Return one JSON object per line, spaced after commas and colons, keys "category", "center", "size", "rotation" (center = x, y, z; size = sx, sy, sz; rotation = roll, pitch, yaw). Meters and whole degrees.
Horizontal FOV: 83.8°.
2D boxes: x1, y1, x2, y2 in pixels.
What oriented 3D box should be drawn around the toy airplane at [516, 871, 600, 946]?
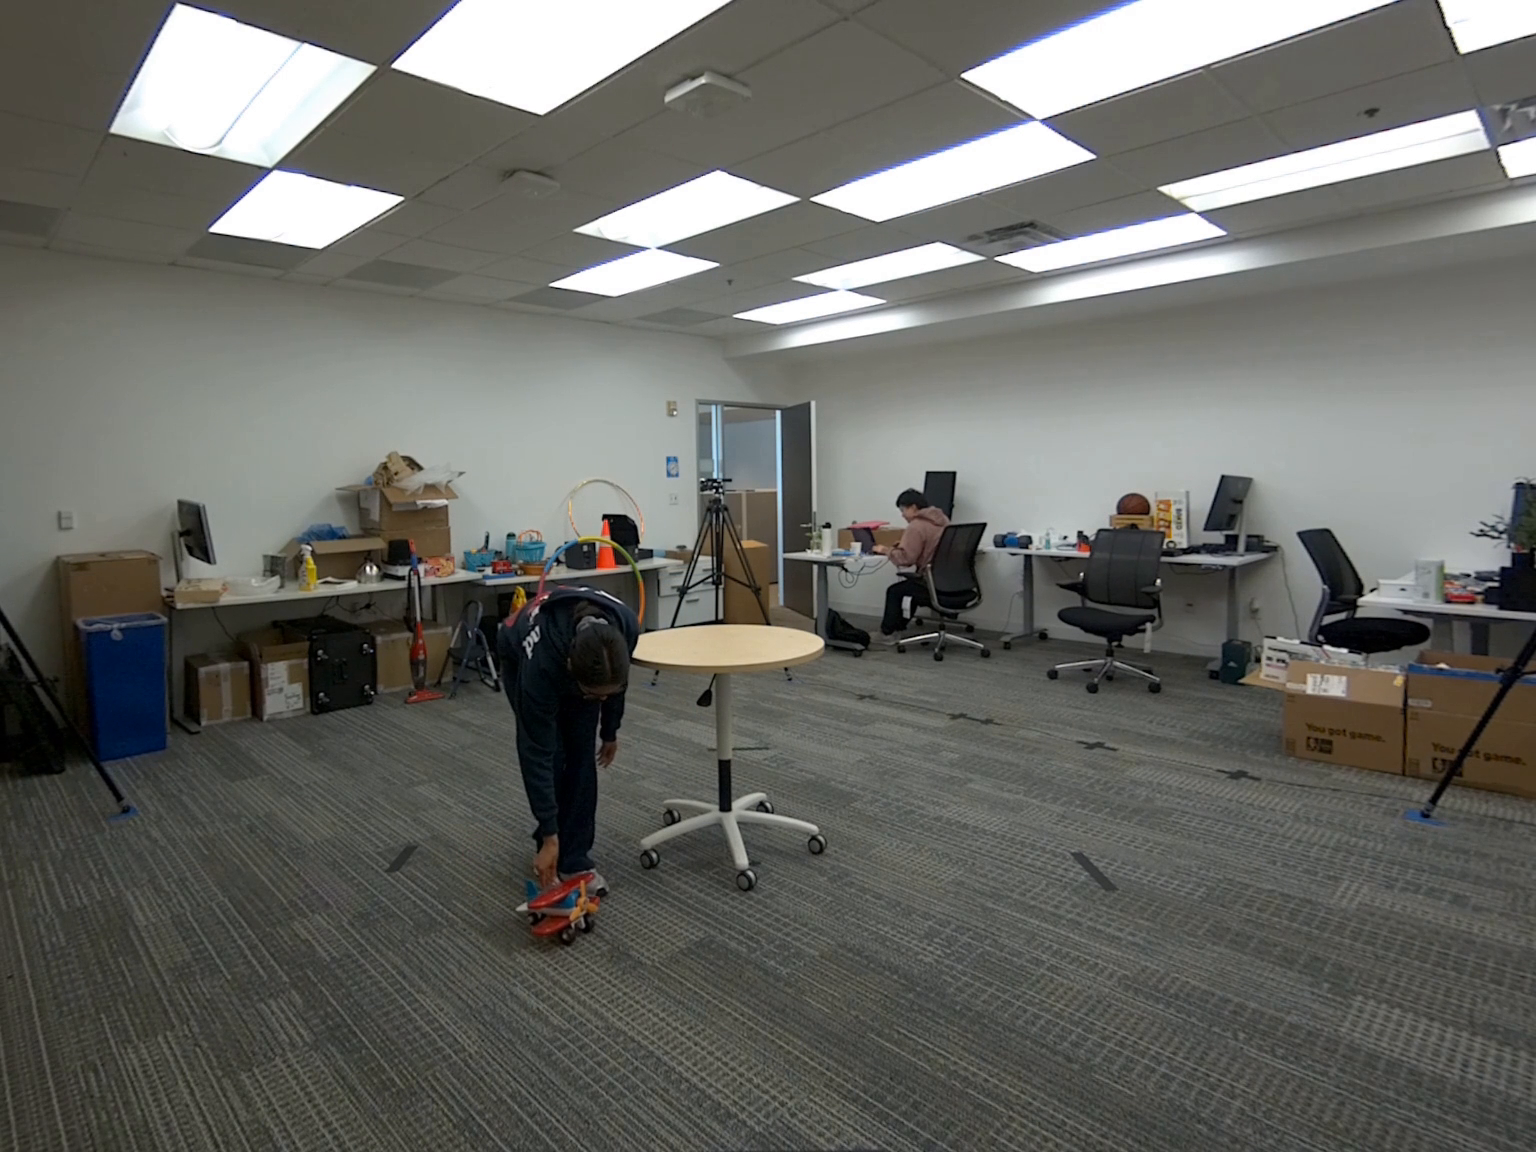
{"category": "toy airplane", "center": [-0.669, 1.035, 2.654], "size": [0.261, 0.156, 0.251], "rotation": [0, 6, 6]}
